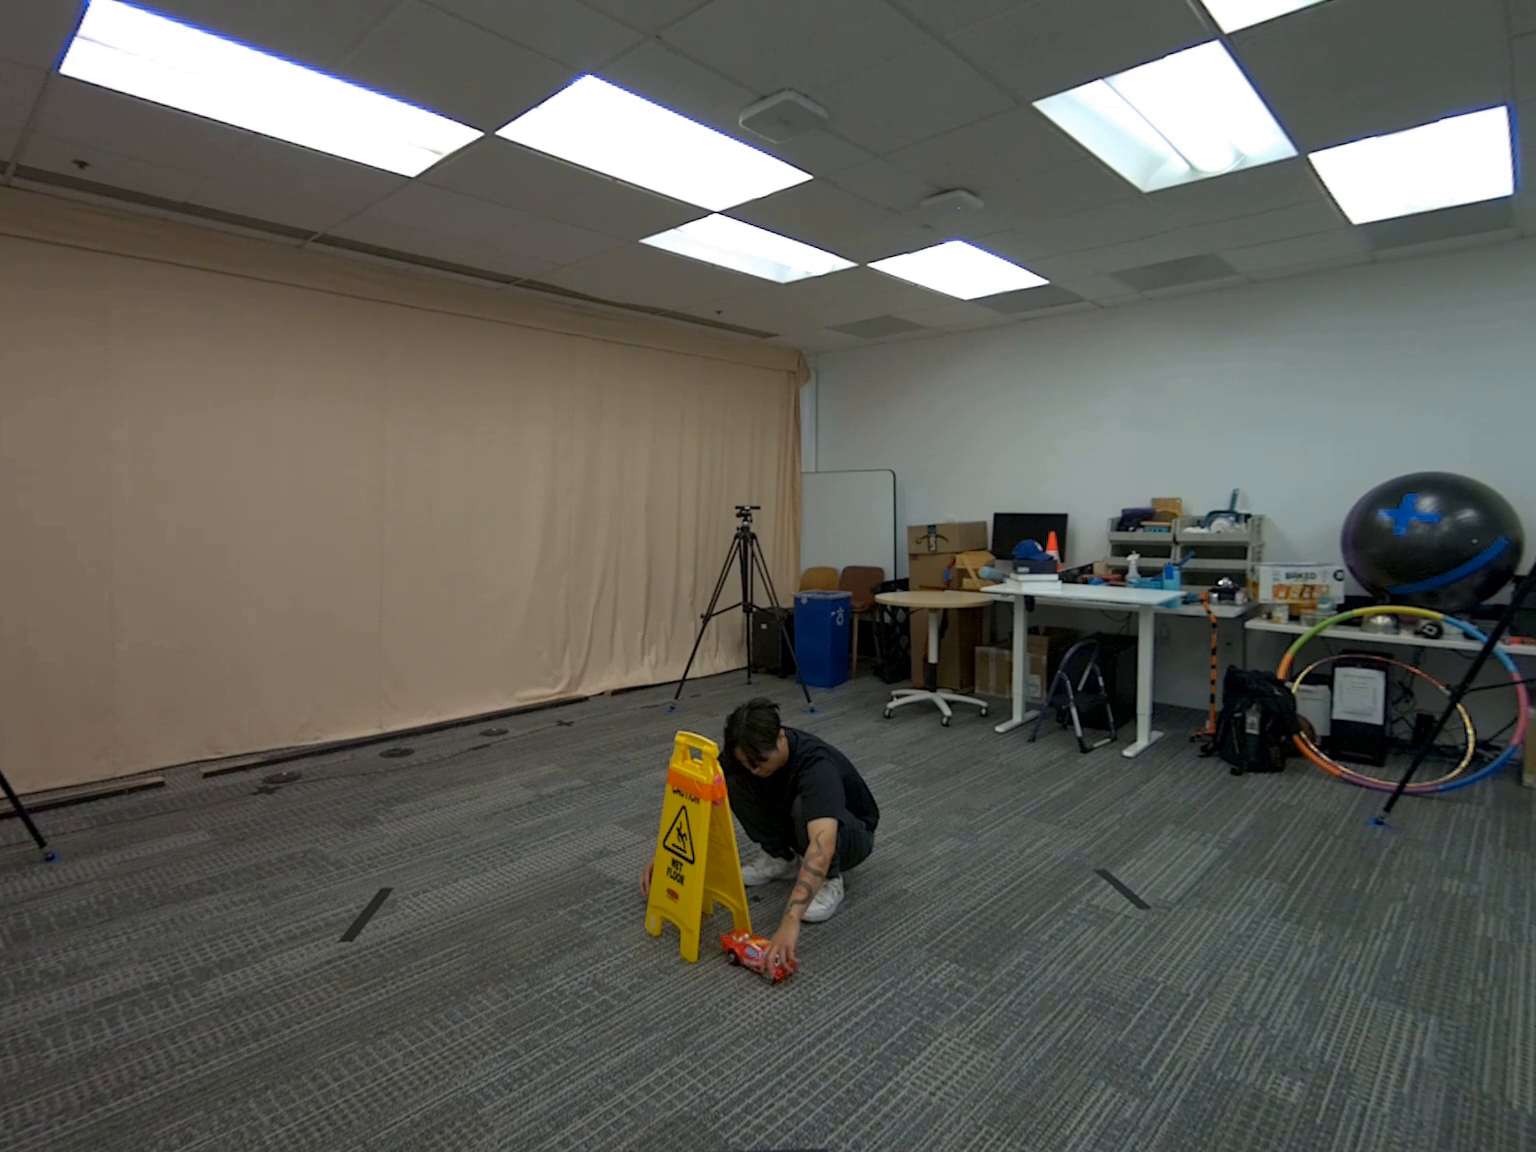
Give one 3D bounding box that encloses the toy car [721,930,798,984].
[{"bbox_3d":[-0.035,1.143,2.556,0.126,0.082,0.264,-6,20,-44],"label":"toy car"}]
